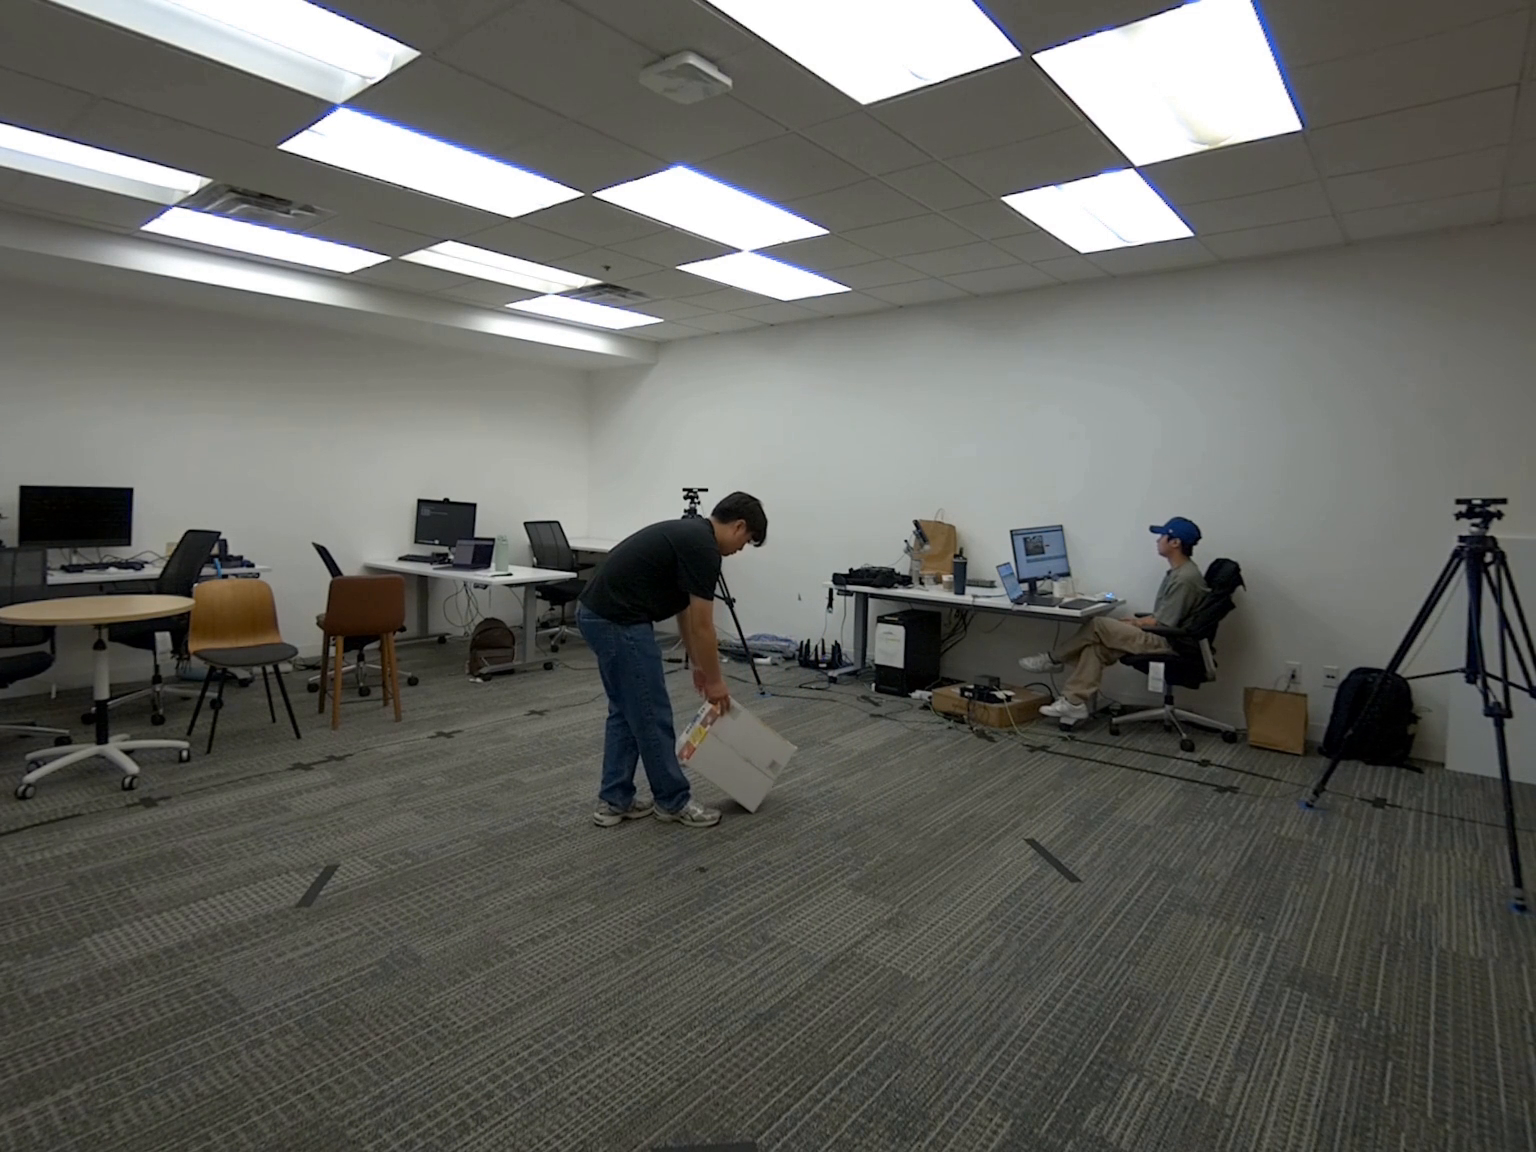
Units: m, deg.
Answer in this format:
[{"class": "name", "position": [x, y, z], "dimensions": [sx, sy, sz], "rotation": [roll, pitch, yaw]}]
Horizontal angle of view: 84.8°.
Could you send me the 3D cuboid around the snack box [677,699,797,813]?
[{"class": "snack box", "position": [-0.160, 0.761, 3.712], "dimensions": [0.395, 0.341, 0.210], "rotation": [39, -9, -18]}]
